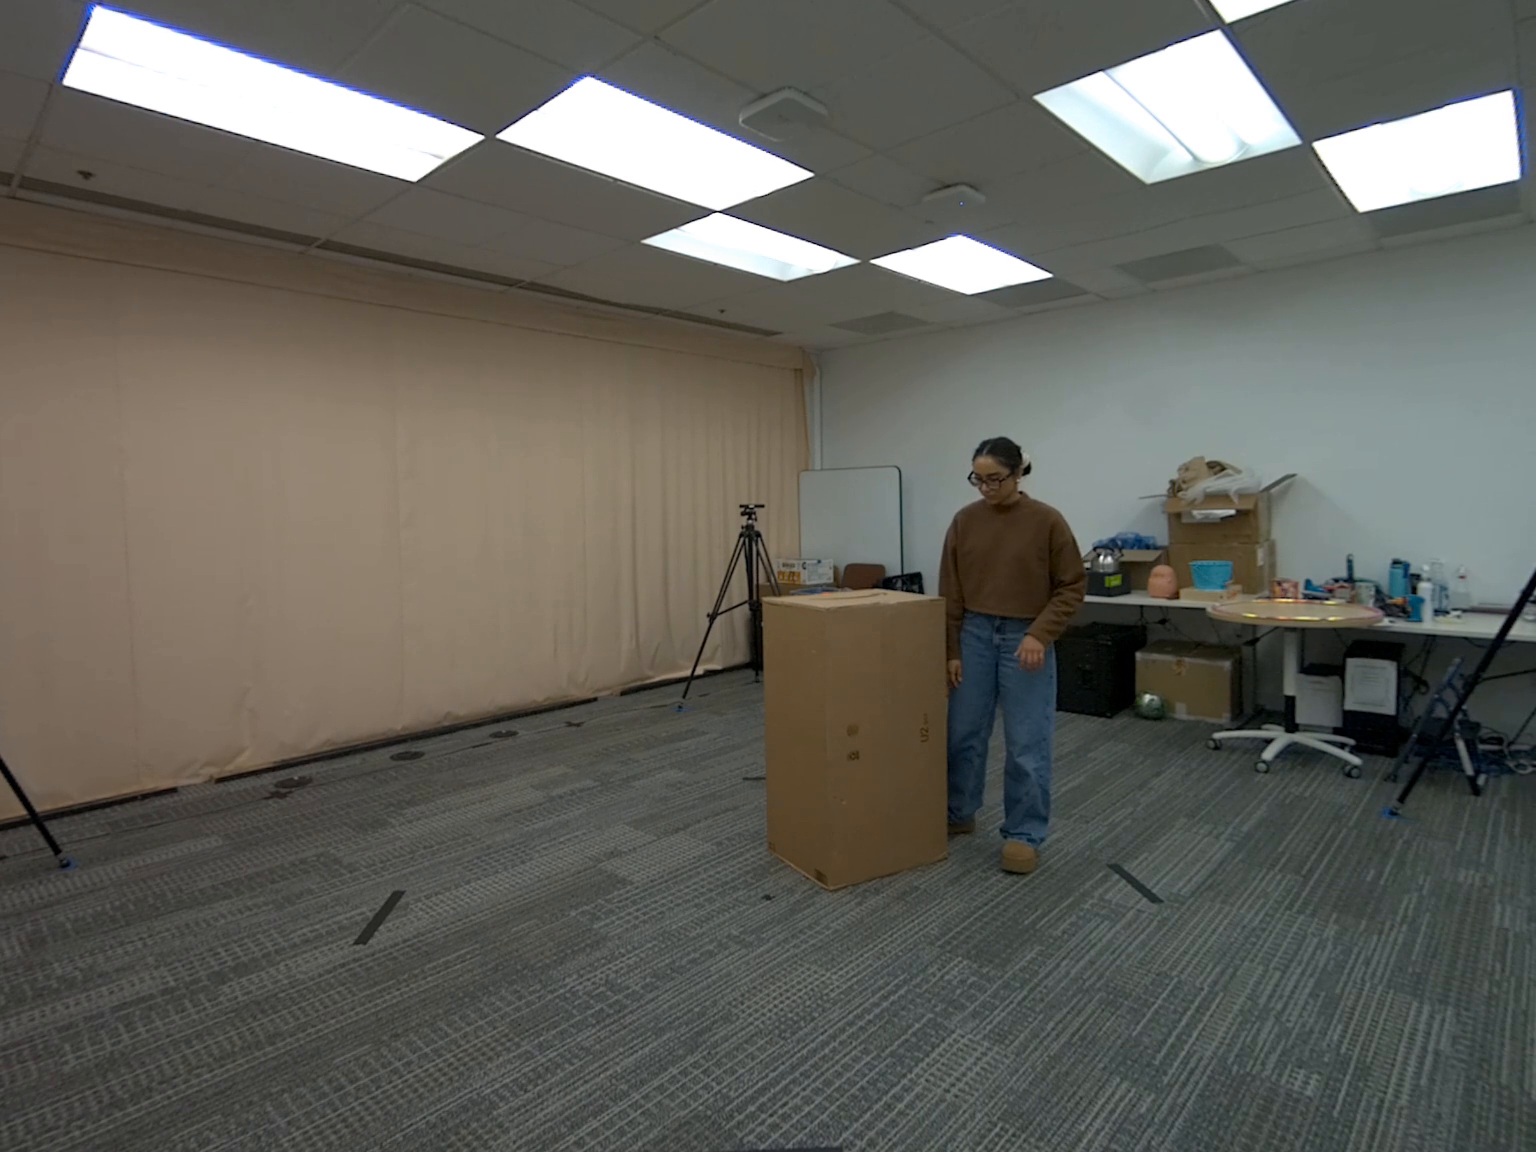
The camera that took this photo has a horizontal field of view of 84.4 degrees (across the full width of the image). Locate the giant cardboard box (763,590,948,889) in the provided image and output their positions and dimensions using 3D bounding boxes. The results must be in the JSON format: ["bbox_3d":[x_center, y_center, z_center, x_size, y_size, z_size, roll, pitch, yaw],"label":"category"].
[{"bbox_3d":[0.340,0.597,3.312,0.562,1.023,0.439,-4,4,-32],"label":"giant cardboard box"}]
